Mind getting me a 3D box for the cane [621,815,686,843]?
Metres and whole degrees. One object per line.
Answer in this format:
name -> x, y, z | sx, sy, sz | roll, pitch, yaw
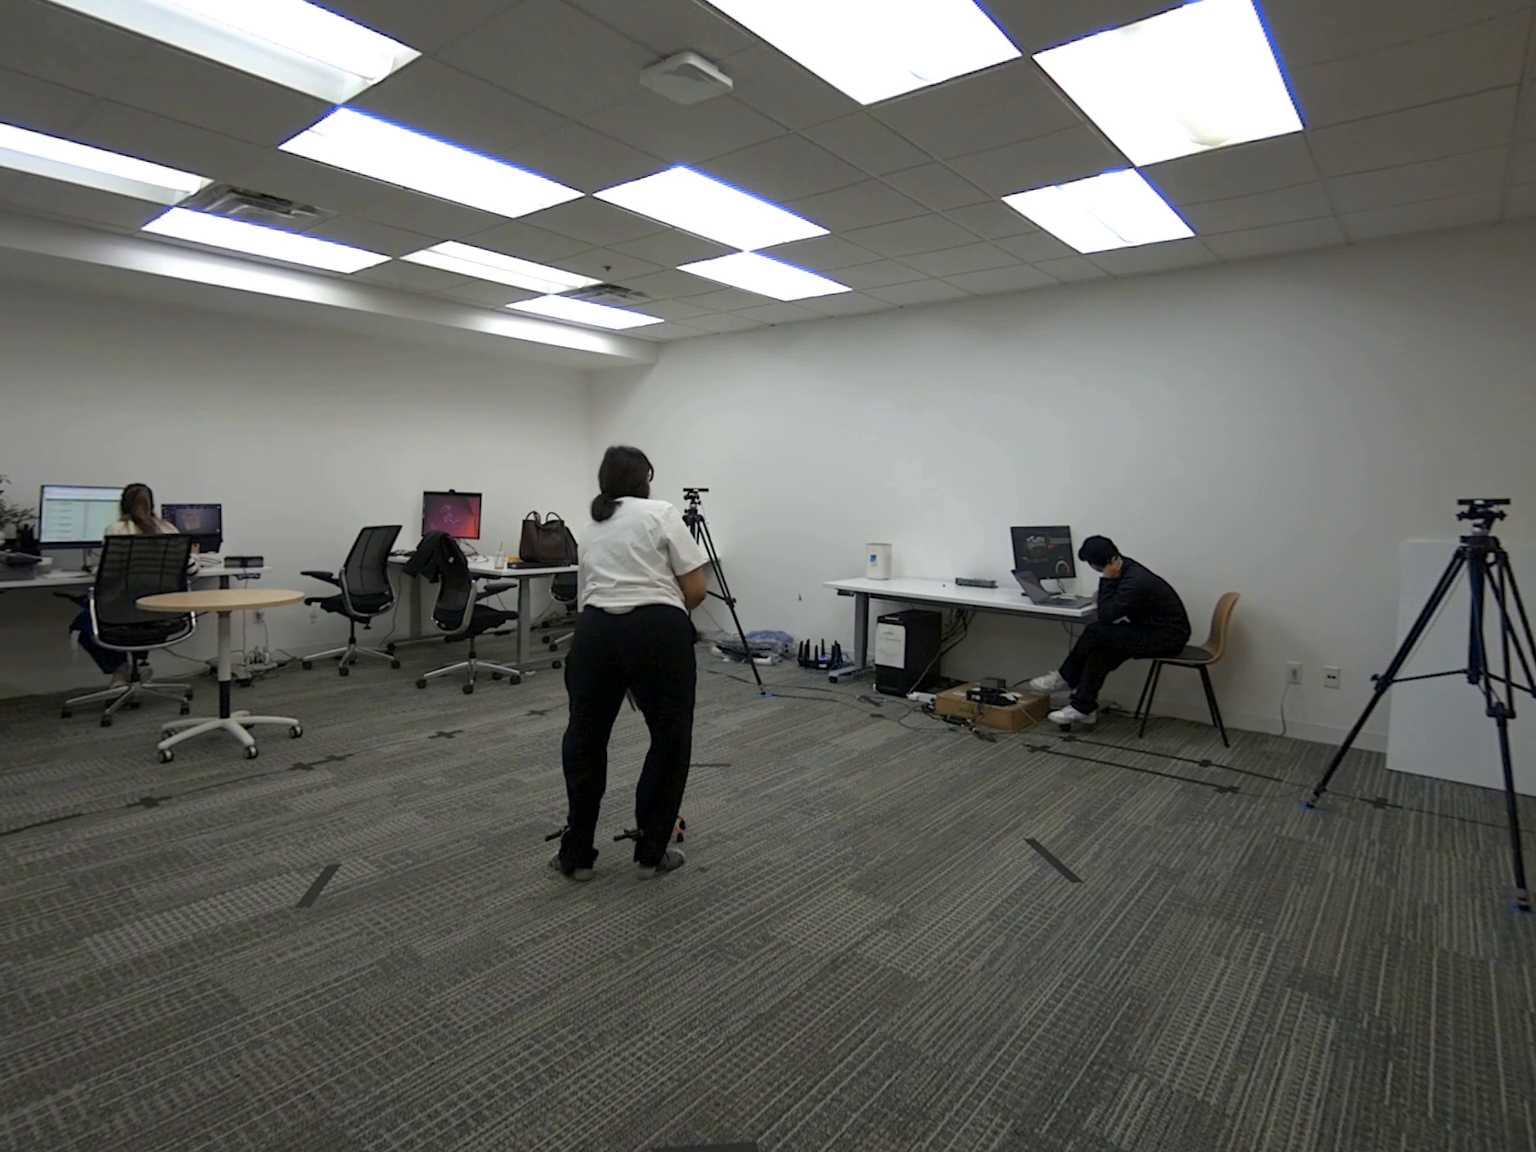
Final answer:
cane -> -0.437, 0.578, 3.383 | 0.206, 0.904, 0.152 | 1, 4, -1
